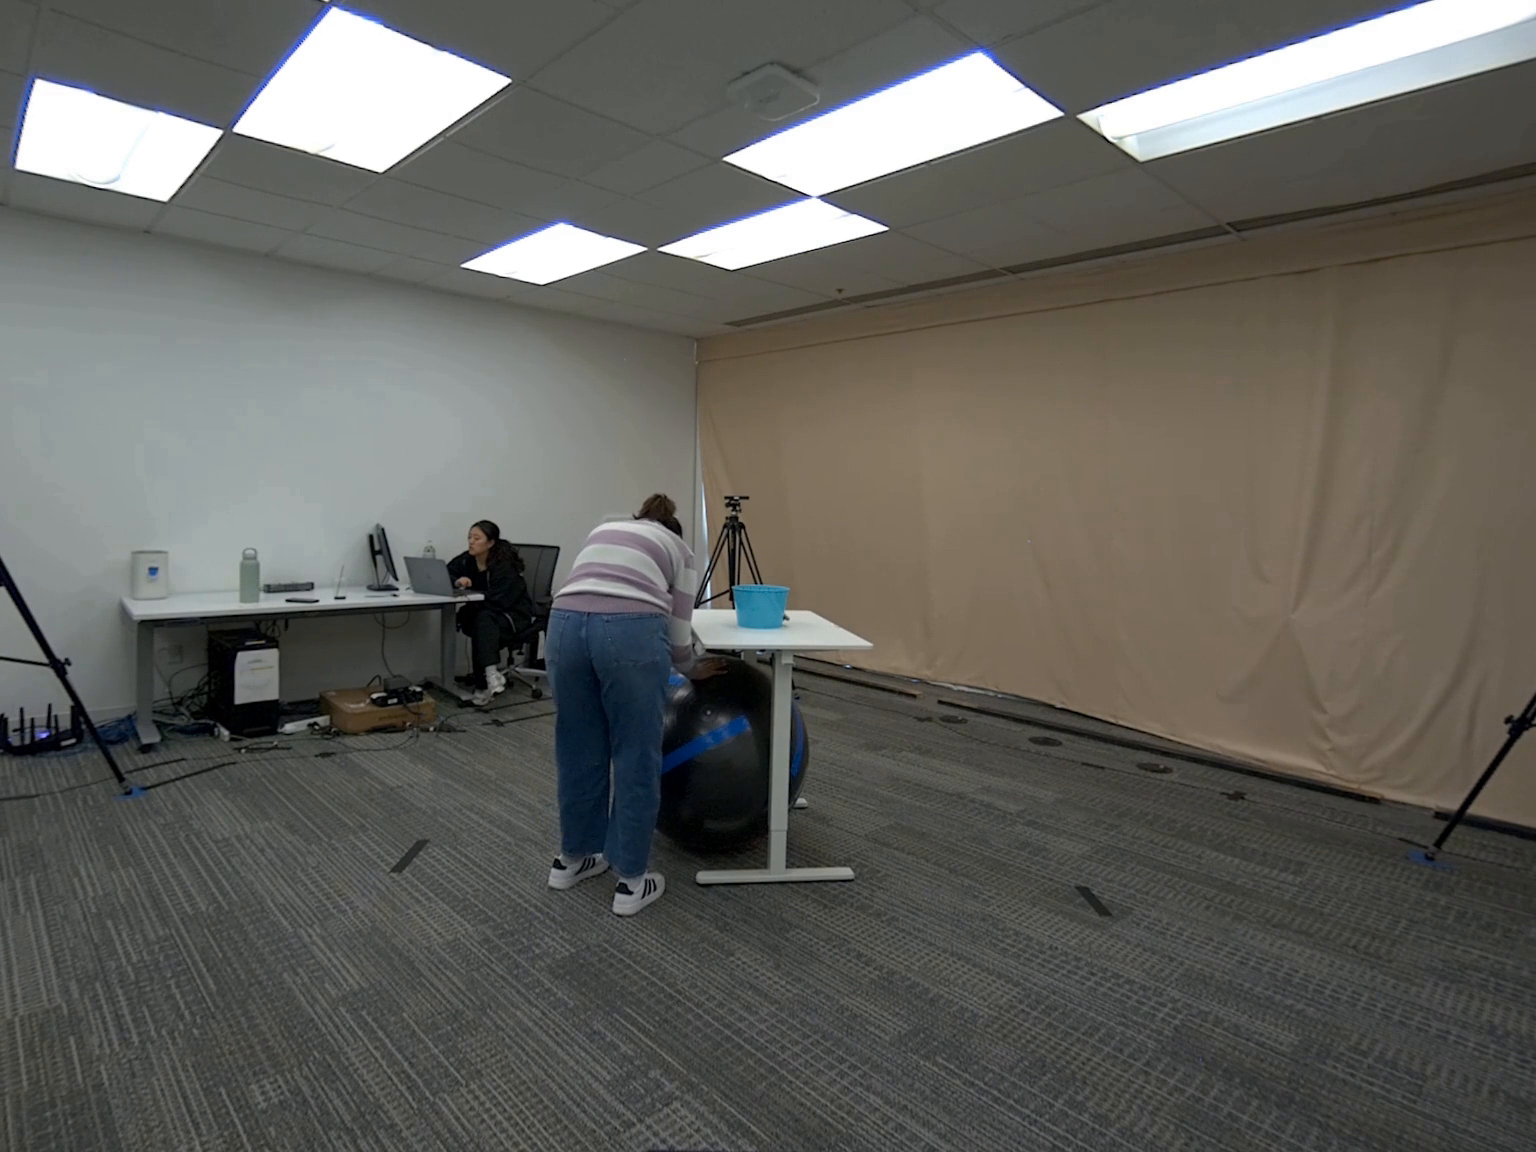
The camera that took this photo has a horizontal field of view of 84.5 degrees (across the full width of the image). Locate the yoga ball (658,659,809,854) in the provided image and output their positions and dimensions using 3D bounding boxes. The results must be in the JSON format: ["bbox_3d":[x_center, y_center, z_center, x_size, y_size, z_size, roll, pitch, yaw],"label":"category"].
[{"bbox_3d":[-0.223,0.710,3.407,0.757,0.756,0.761,1,4,-1],"label":"yoga ball"}]
